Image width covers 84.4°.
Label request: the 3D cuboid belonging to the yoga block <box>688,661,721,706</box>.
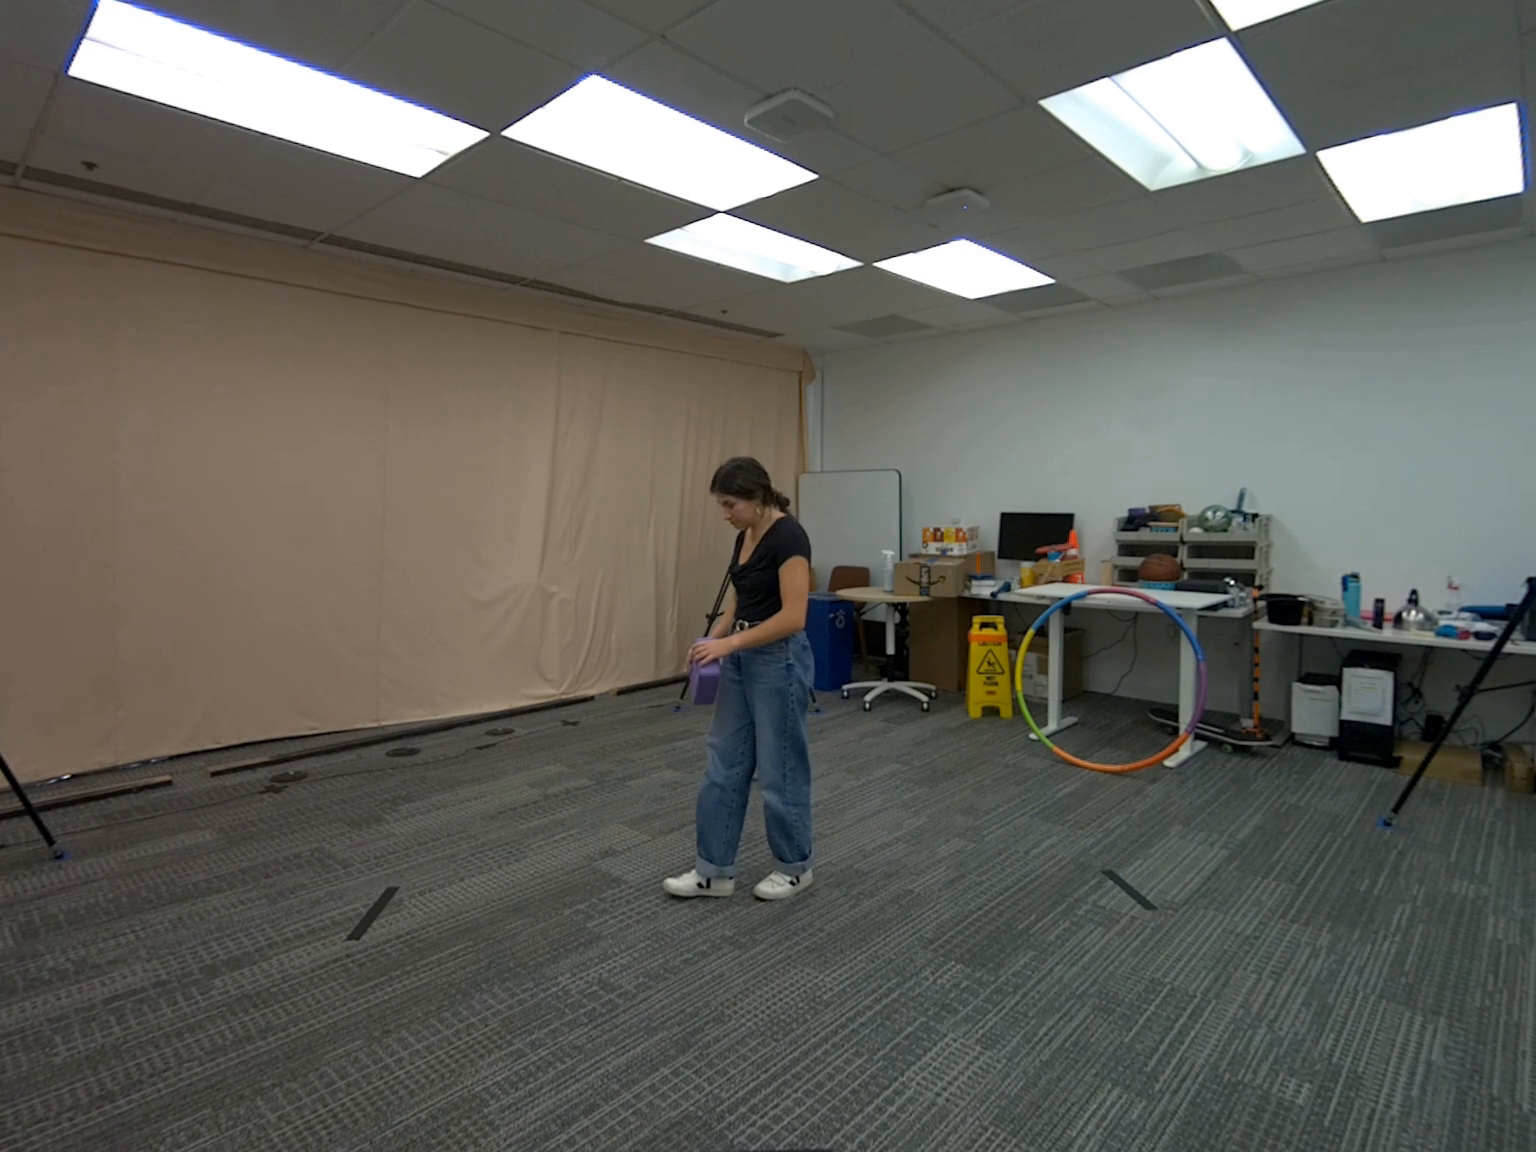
[{"bbox_3d":[-0.215,0.339,2.934,0.076,0.152,0.226,0,-37,-7],"label":"yoga block"}]
